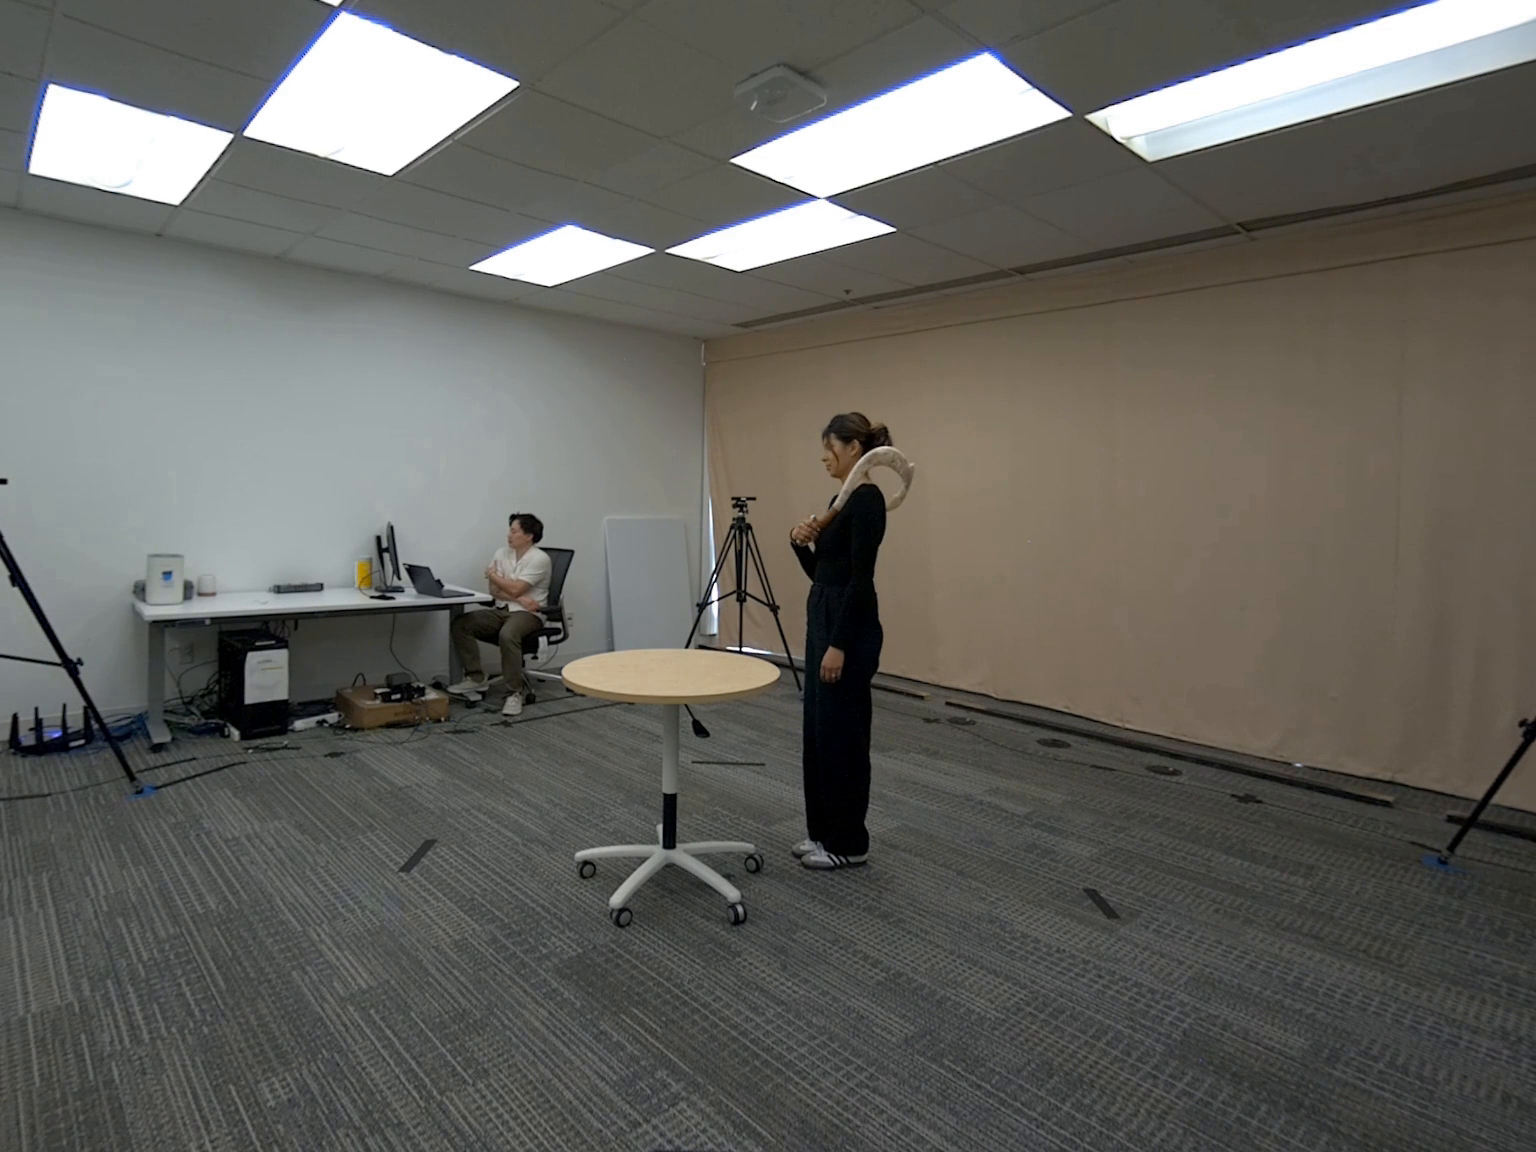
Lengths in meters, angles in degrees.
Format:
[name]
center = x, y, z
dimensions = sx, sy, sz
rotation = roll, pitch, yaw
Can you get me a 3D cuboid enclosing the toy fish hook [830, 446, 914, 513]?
[toy fish hook]
center = 0.317, -0.254, 3.105
dimensions = 0.224, 0.506, 0.048
rotation = 42, 15, -4
